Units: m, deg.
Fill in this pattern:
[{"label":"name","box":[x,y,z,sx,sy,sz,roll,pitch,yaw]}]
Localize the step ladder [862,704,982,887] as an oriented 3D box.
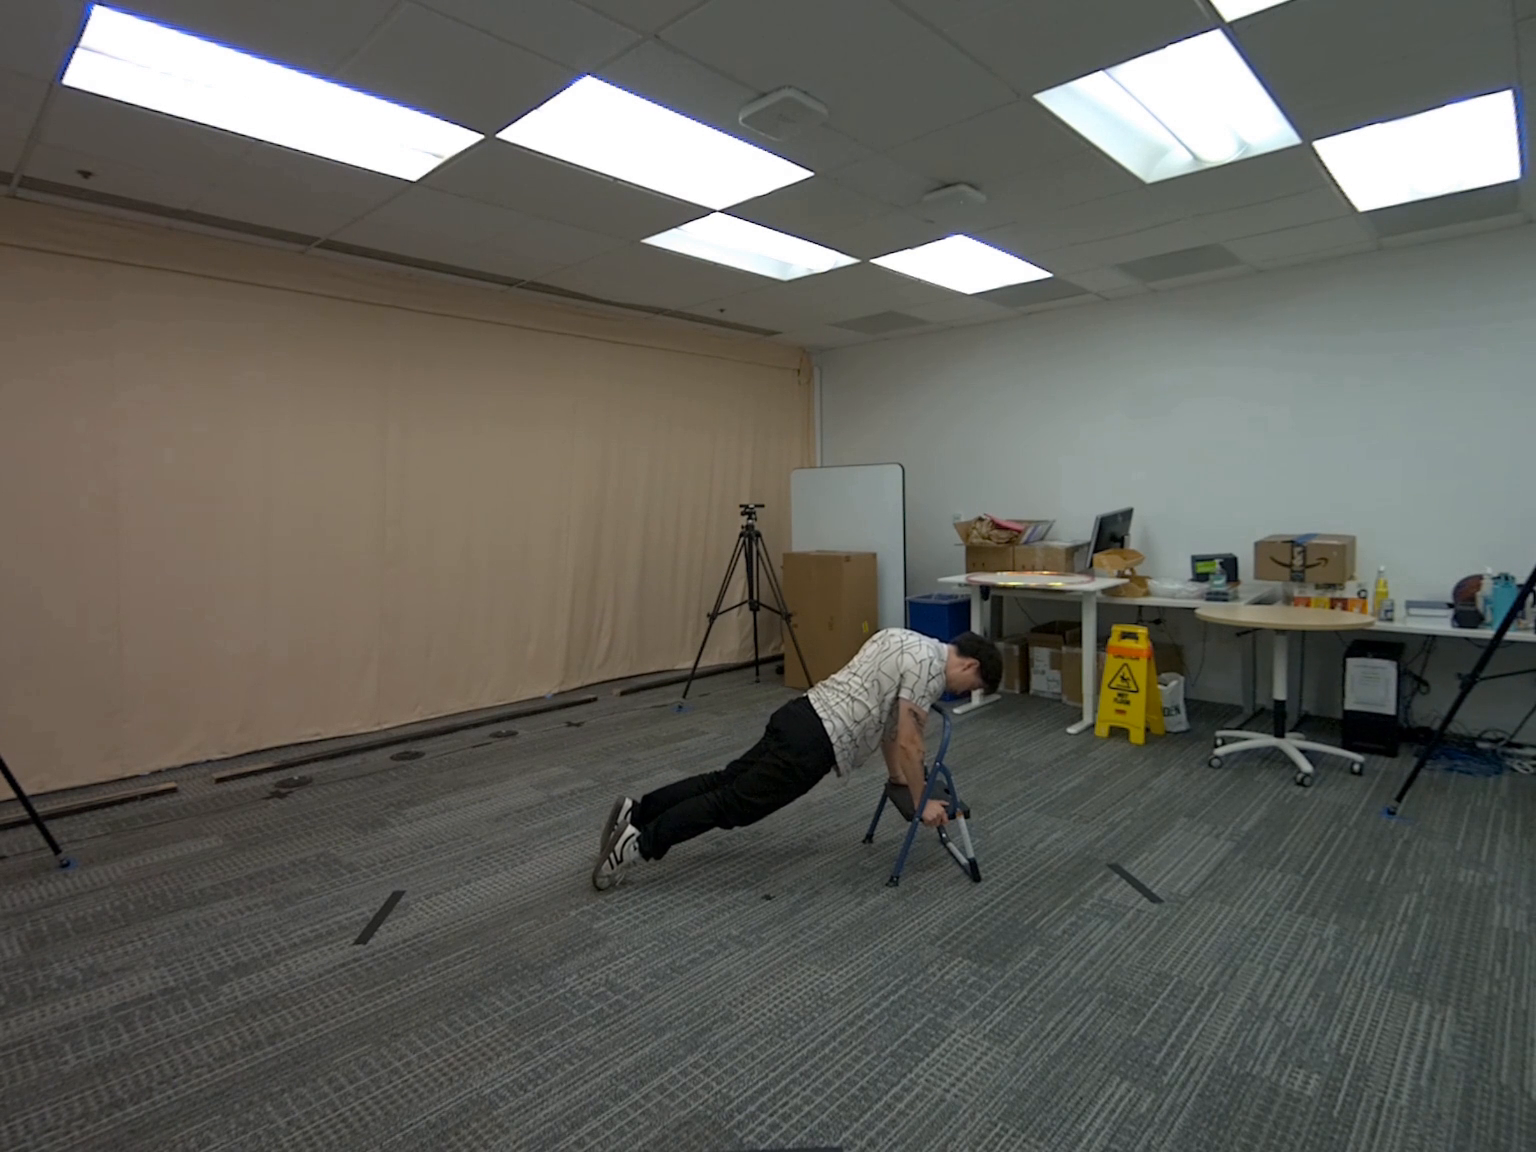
[{"label":"step ladder","box":[0.587,0.809,3.246,0.347,0.604,0.434,-2,4,-6]}]
